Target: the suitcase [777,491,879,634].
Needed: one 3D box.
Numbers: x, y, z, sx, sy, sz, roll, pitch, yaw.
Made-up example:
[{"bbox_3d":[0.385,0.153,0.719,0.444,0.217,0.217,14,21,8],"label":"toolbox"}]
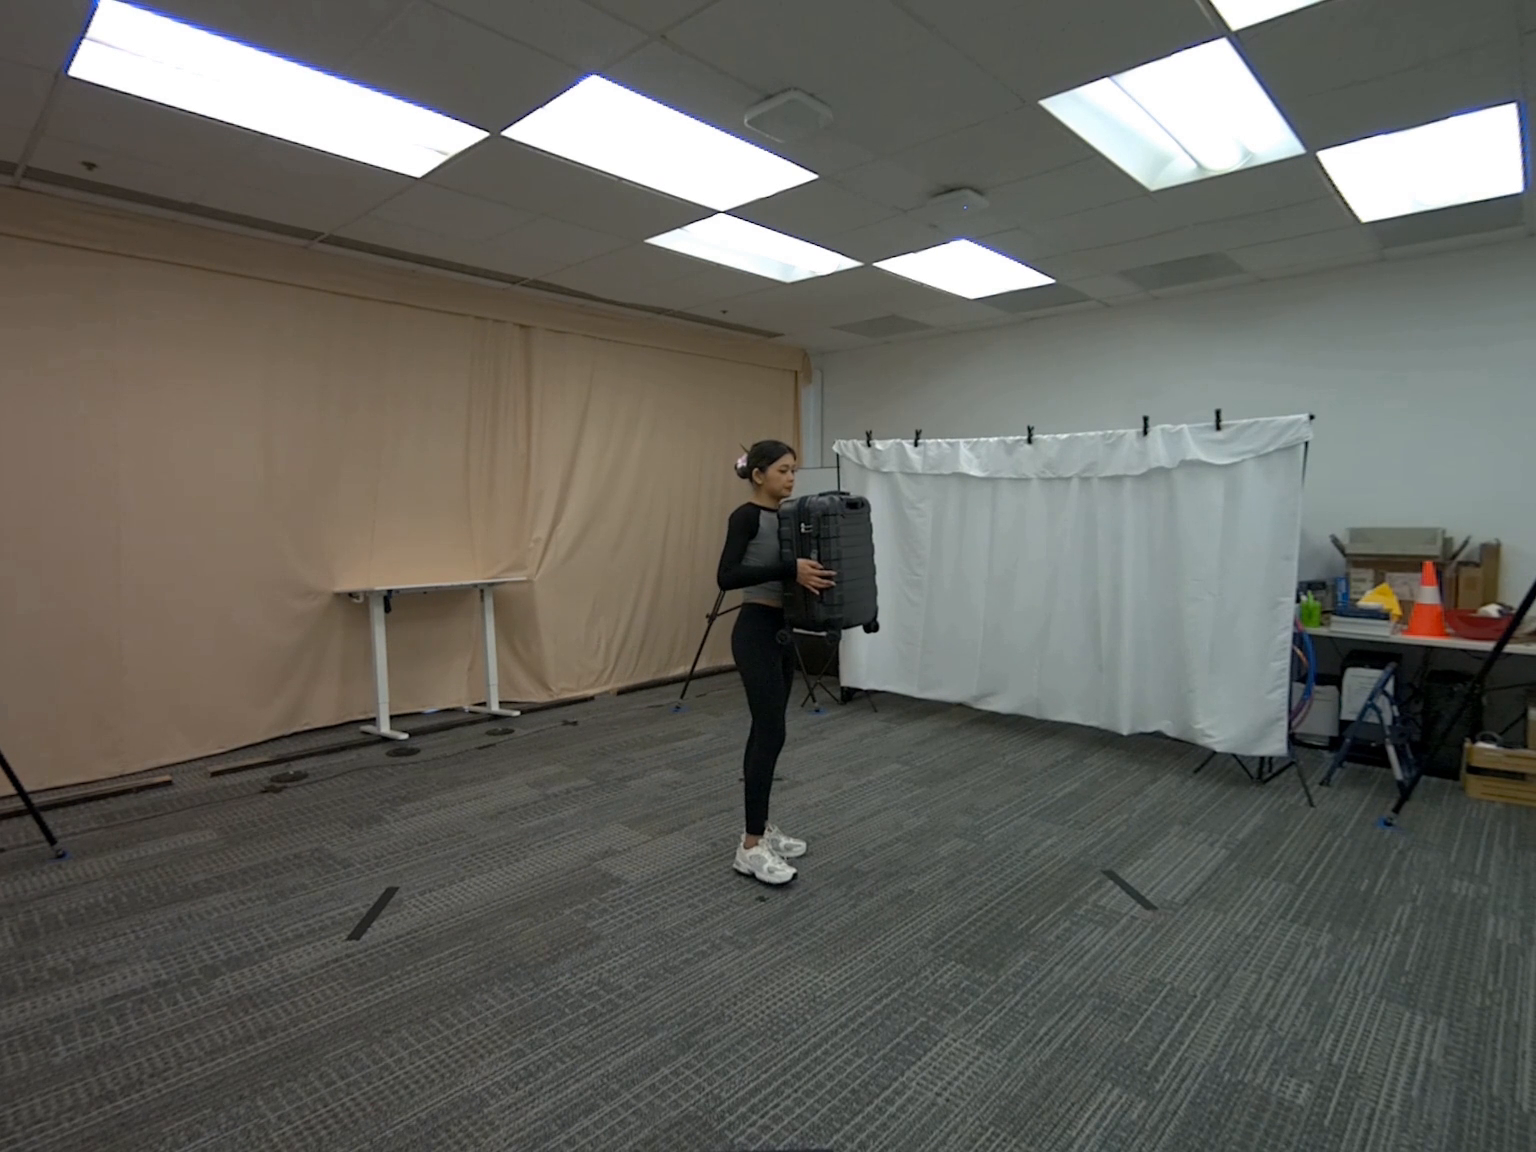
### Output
[{"bbox_3d":[0.233,-0.042,3.181,0.255,0.548,0.366,-3,3,31],"label":"suitcase"}]
